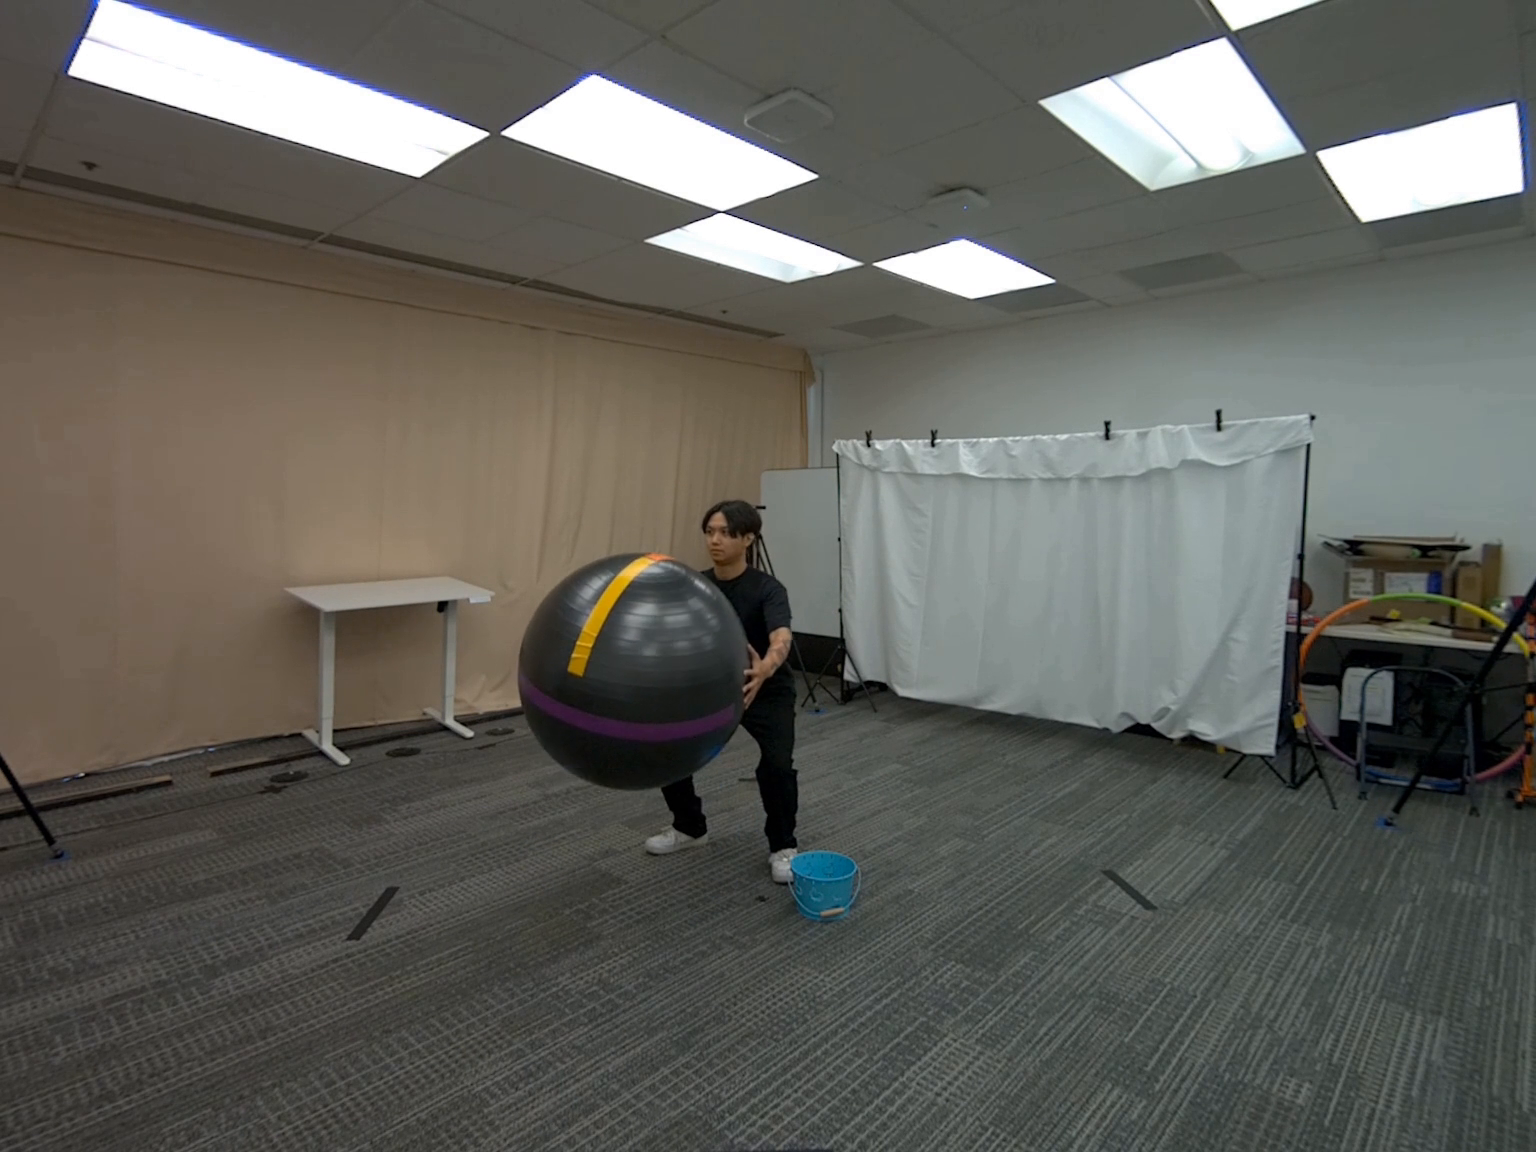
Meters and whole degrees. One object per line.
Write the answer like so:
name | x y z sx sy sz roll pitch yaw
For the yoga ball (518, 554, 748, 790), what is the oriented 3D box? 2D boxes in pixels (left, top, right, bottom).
yoga ball | -0.443 0.311 2.735 0.757 0.756 0.760 0 4 -2
